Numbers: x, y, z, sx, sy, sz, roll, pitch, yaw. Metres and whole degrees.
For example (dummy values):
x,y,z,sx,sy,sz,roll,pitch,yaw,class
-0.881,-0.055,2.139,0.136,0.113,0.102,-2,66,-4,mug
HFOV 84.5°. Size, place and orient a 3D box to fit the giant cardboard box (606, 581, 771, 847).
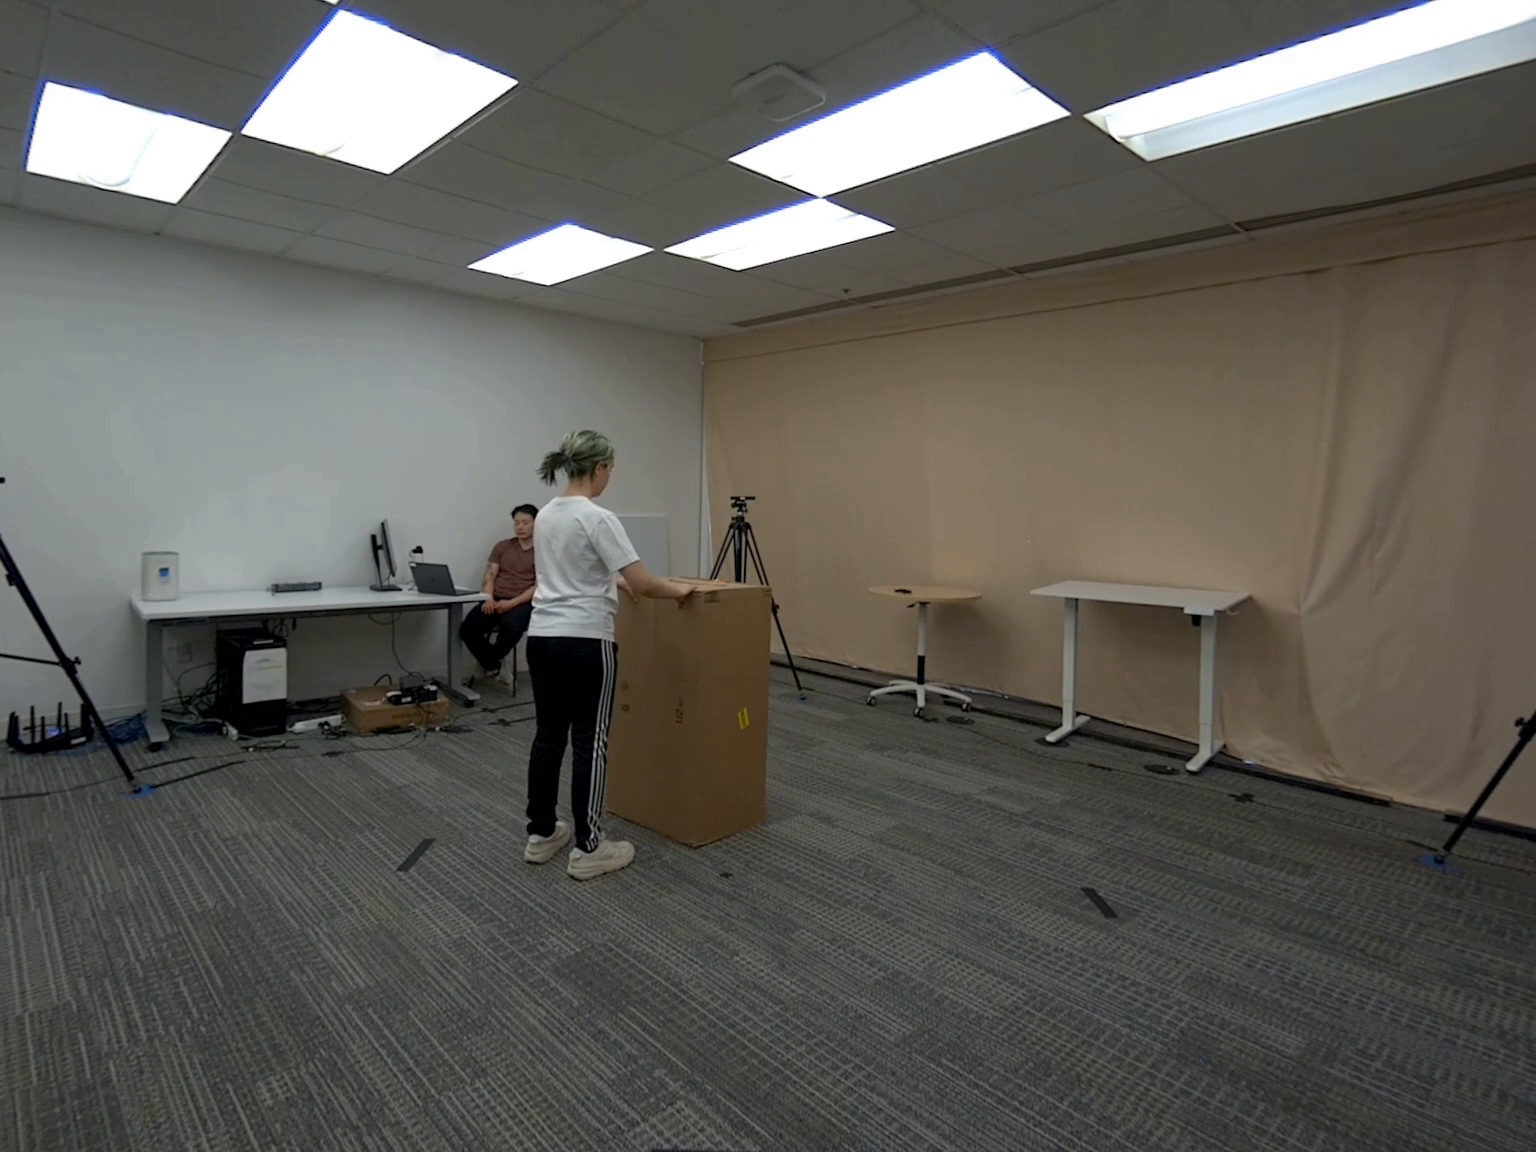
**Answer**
x,y,z,sx,sy,sz,roll,pitch,yaw,class
-0.351,0.545,3.660,0.598,1.025,0.436,4,3,41,giant cardboard box
